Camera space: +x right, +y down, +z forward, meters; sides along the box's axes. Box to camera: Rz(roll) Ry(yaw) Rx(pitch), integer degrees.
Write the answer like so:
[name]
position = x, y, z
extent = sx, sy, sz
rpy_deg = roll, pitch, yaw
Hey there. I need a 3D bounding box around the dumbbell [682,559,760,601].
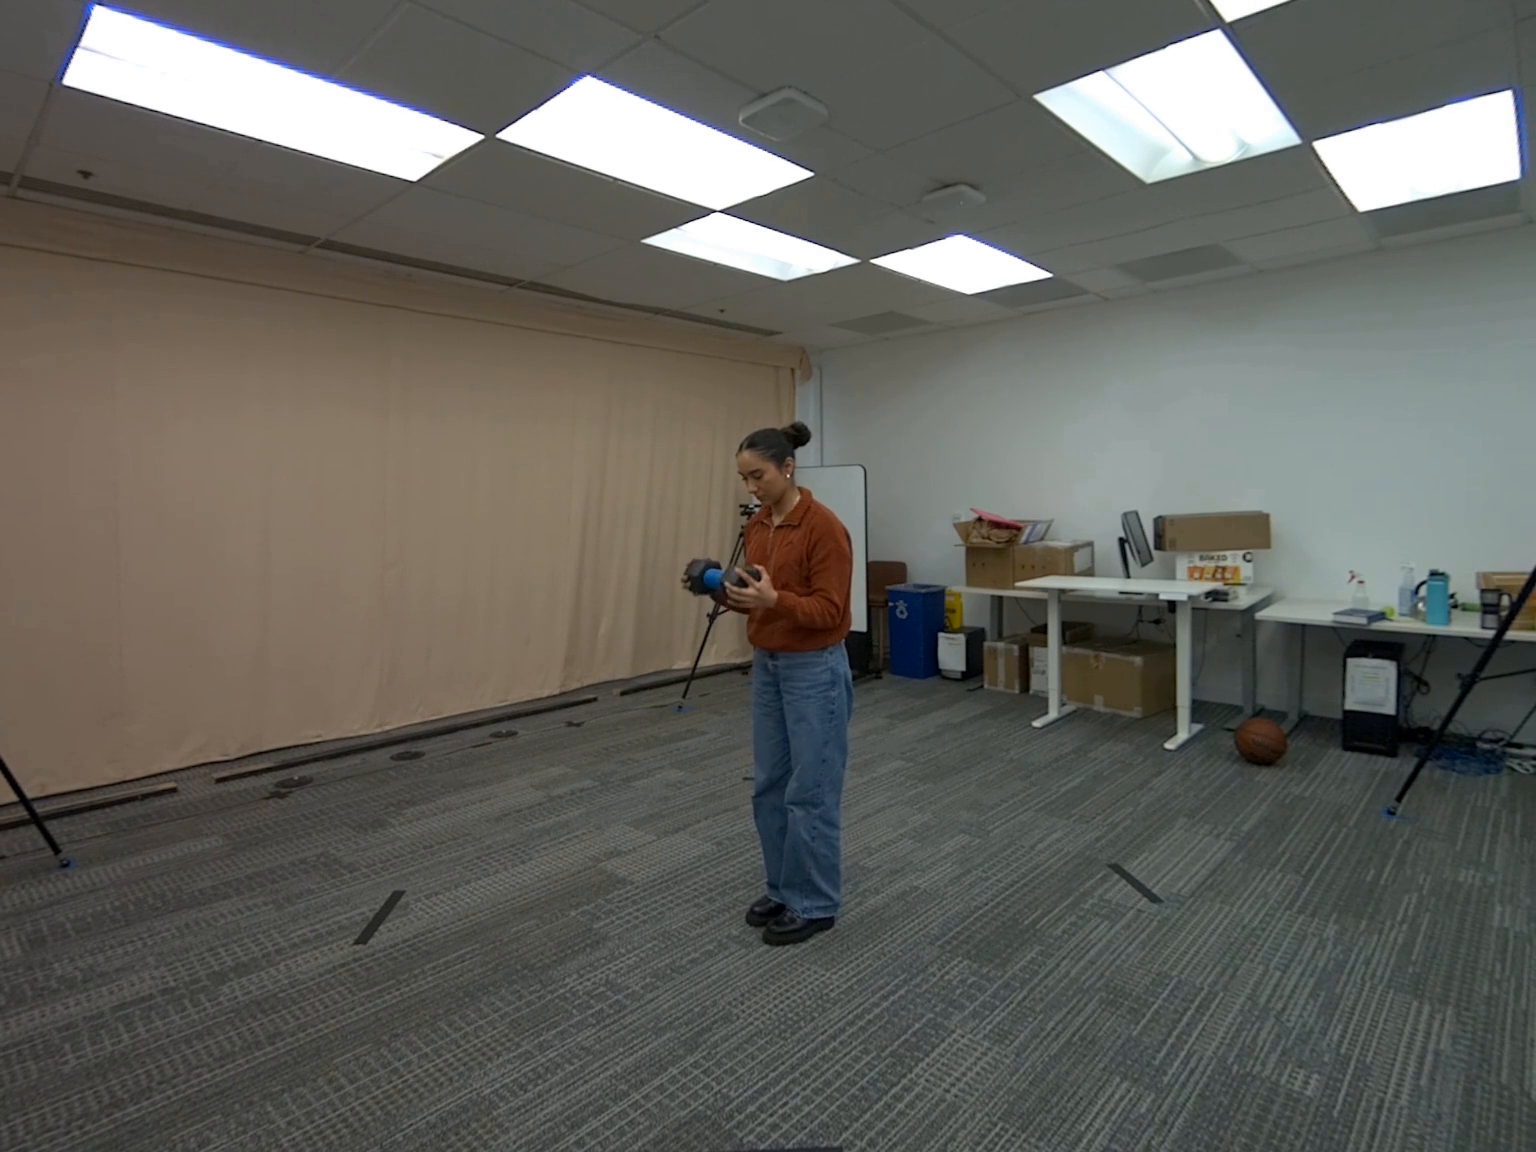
[dumbbell]
position = -0.125, 0.022, 2.600
extent = 0.119, 0.108, 0.303
rpy_deg = 7, 2, -35
